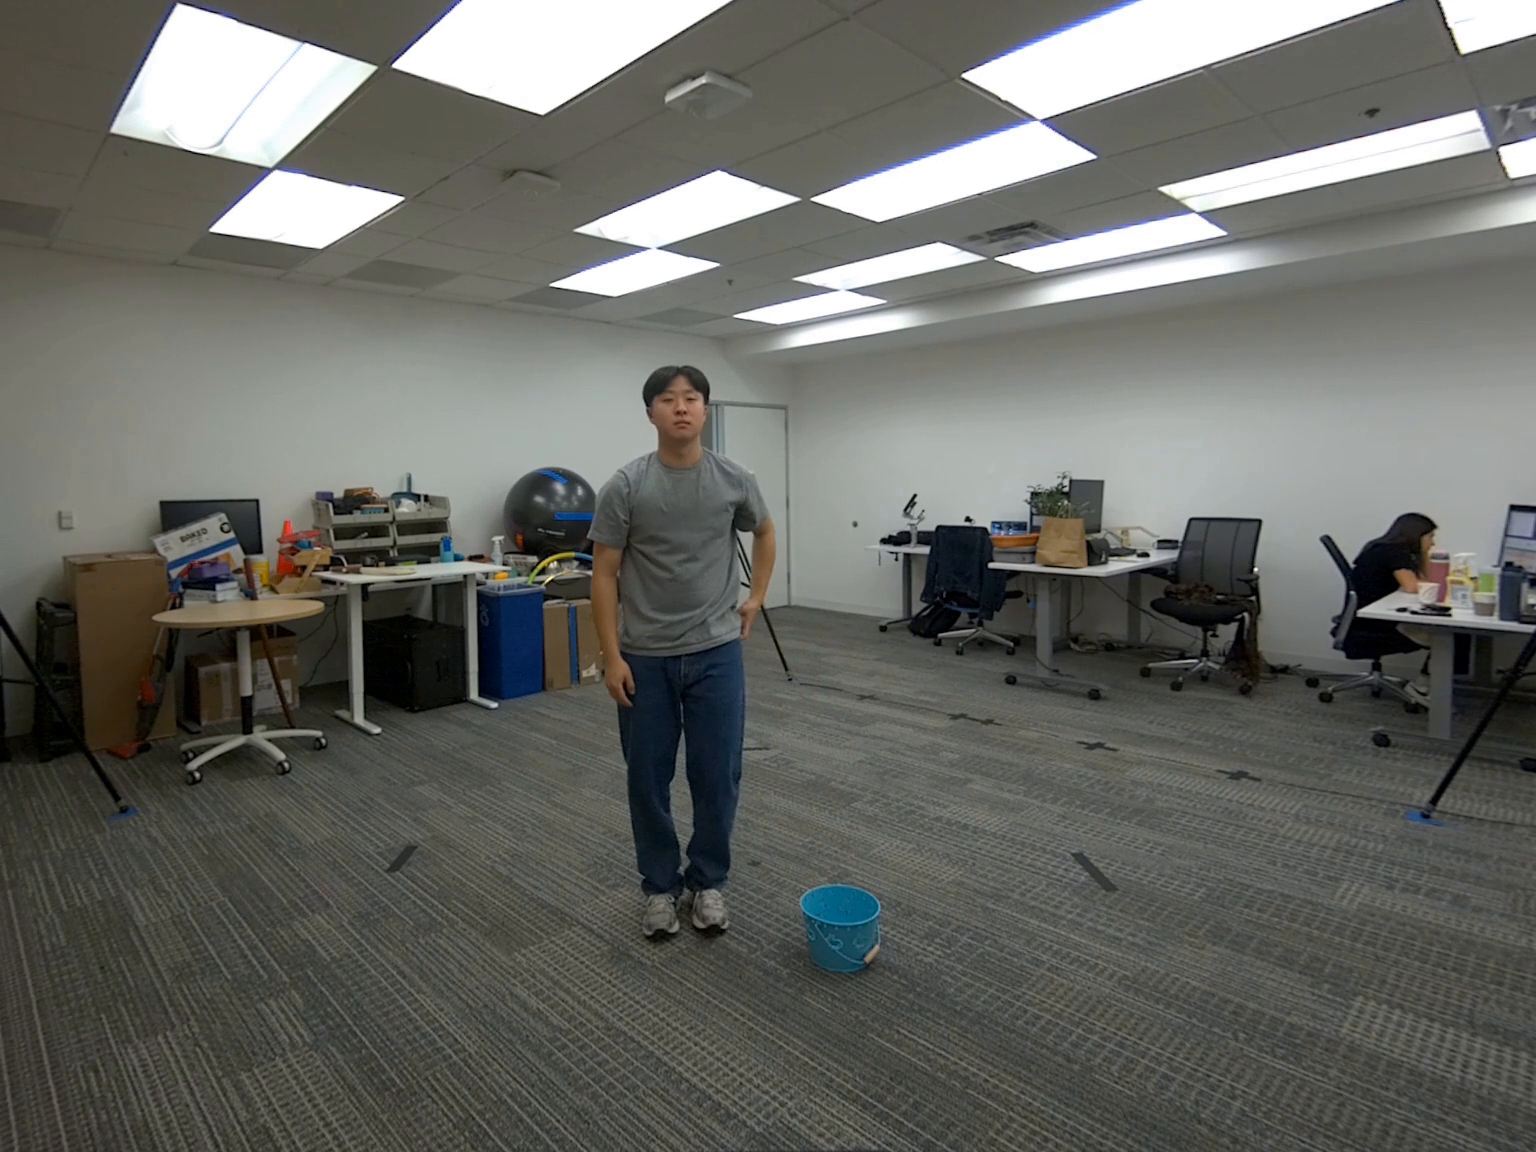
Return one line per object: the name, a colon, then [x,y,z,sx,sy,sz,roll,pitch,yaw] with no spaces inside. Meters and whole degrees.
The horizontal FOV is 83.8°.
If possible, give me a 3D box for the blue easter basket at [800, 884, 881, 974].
blue easter basket: [0.219,1.036,2.492,0.243,0.155,0.245,-1,5,-2]
